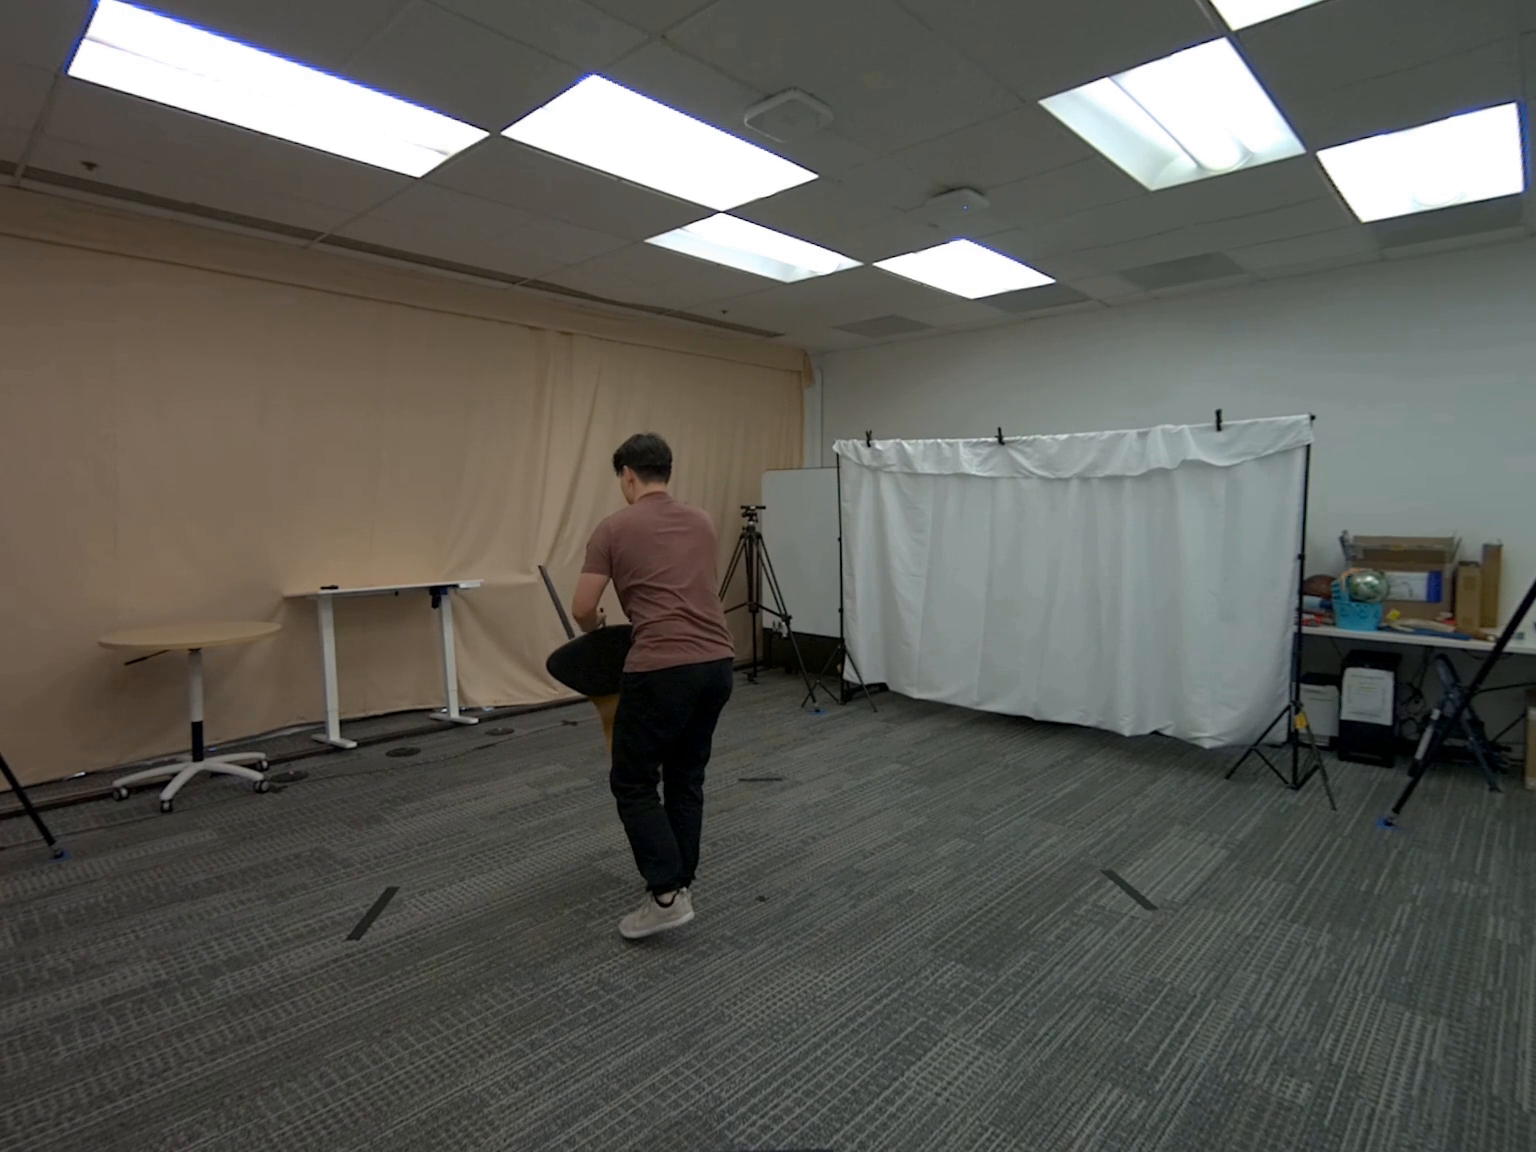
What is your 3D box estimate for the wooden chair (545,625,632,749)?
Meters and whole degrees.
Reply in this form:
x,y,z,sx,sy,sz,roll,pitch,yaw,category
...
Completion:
x,y,z,sx,sy,sz,roll,pitch,yaw,category
-0.568,0.322,3.291,0.484,0.897,0.505,-23,-32,17,wooden chair
